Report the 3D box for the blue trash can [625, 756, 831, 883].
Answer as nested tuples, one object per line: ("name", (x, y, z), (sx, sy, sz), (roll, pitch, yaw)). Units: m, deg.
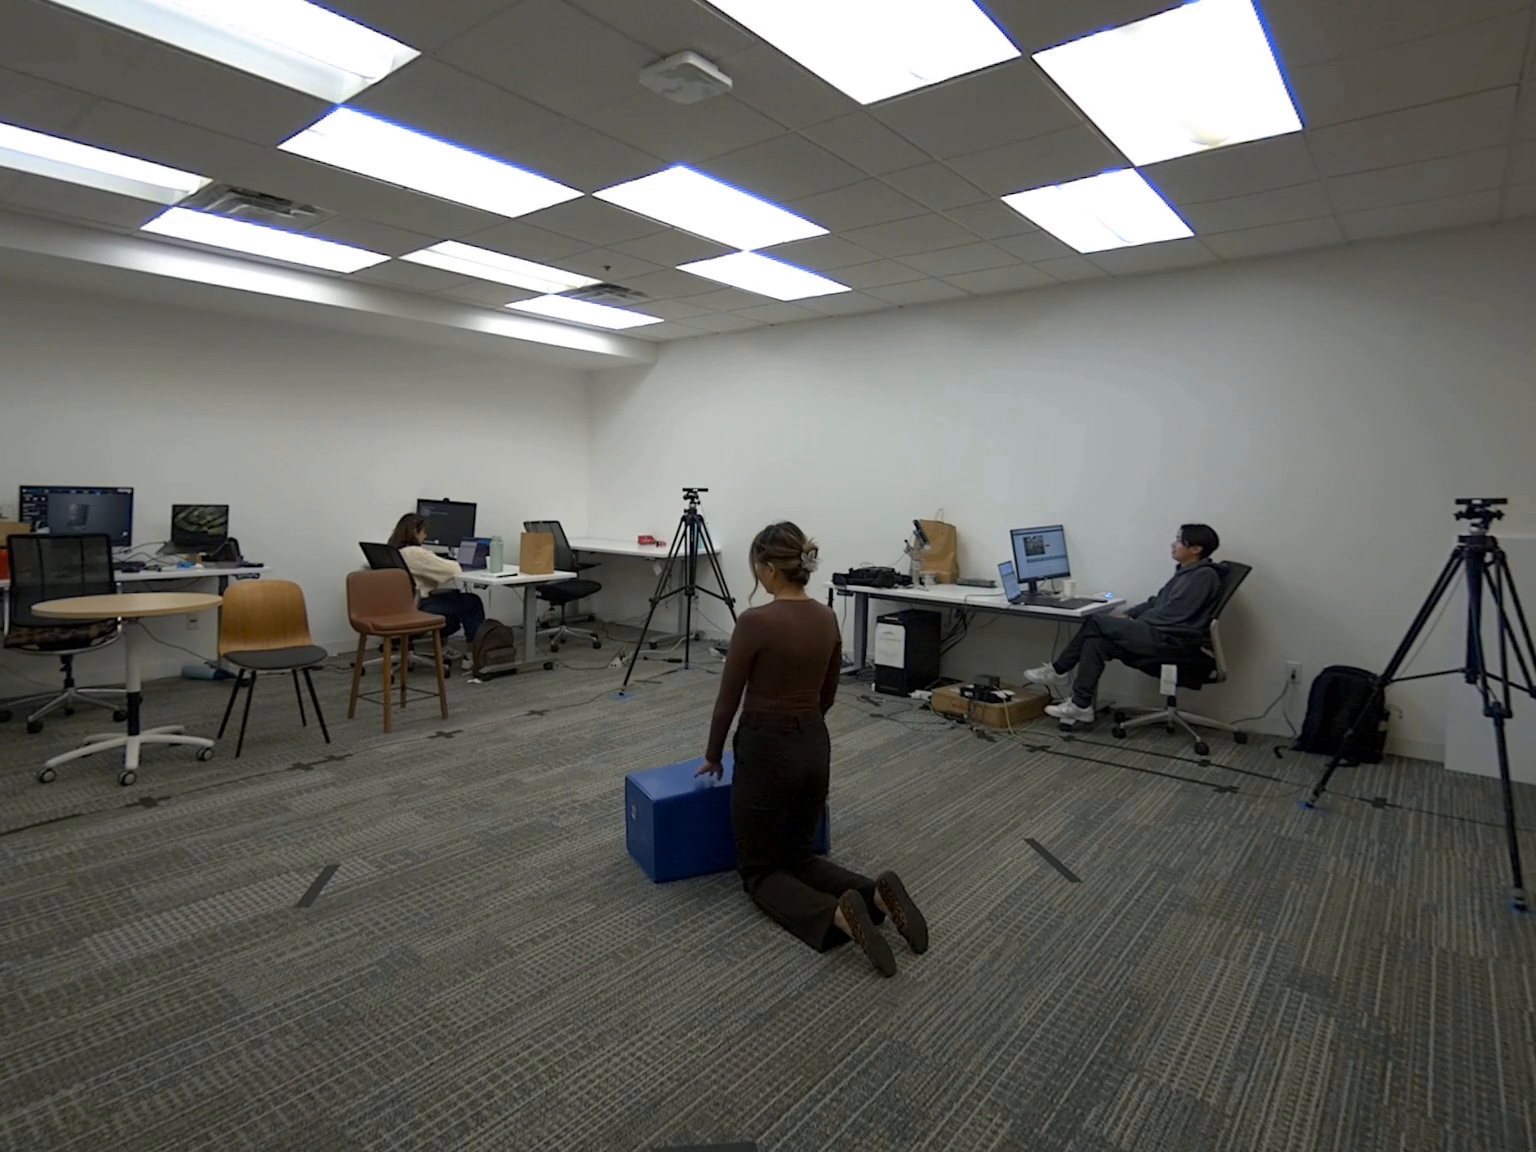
("blue trash can", (-0.170, 0.881, 3.256), (0.697, 0.376, 0.385), (-3, 6, -26))
